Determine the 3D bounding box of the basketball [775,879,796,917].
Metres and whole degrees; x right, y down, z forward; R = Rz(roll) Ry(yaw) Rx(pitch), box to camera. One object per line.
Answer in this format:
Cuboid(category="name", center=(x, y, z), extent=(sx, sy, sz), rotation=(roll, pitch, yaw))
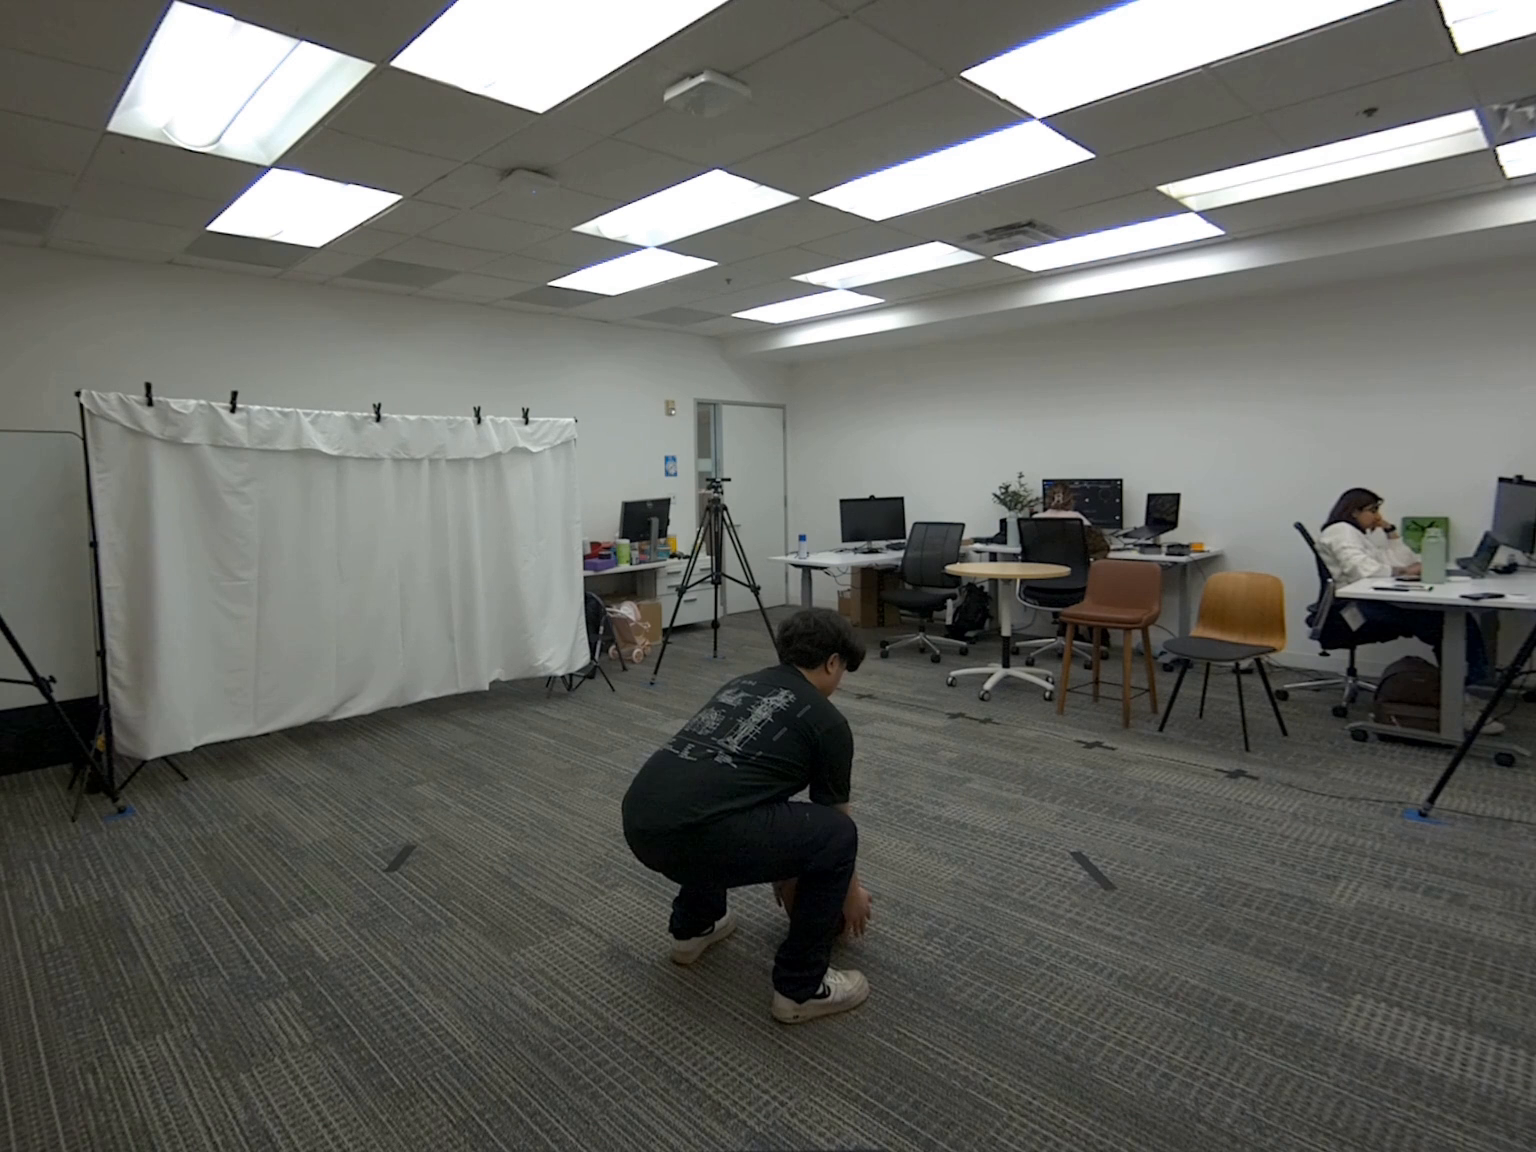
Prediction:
Cuboid(category="basketball", center=(0.174, 0.974, 2.609), extent=(0.236, 0.235, 0.237), rotation=(-1, 5, -2))
